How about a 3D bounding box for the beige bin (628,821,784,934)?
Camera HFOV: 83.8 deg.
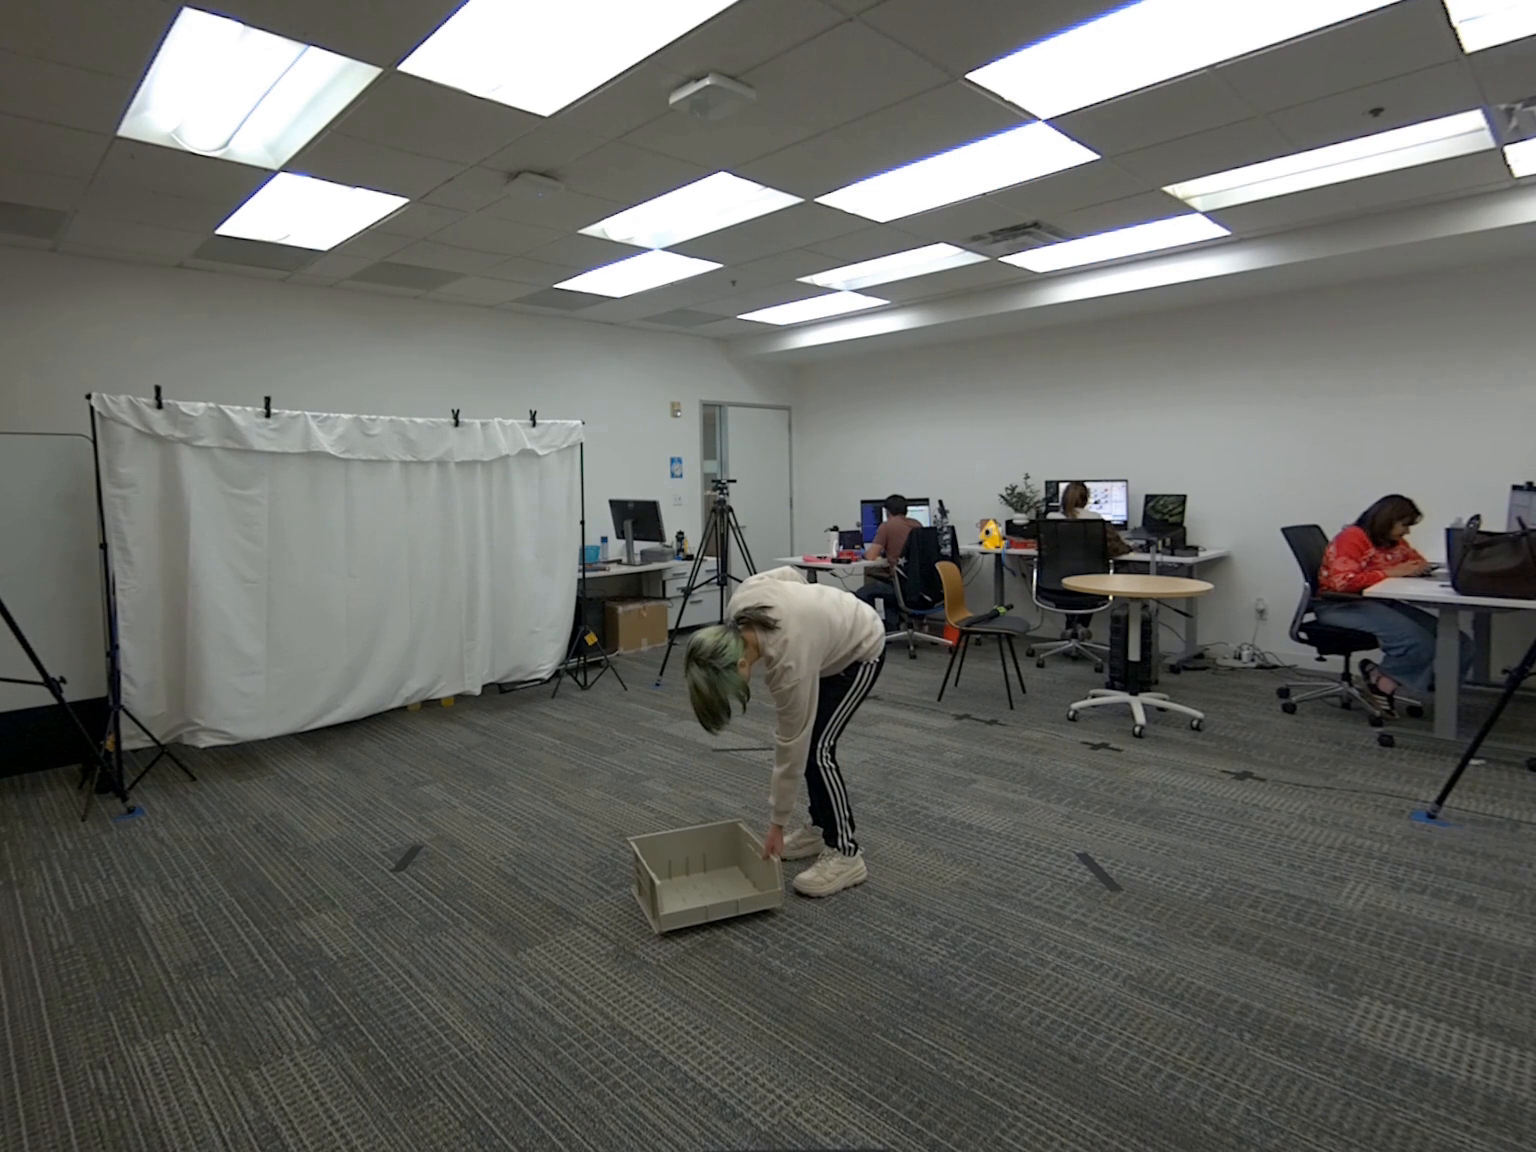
[{"bbox_3d":[-0.207,0.993,2.822,0.414,0.188,0.386,-5,6,-22],"label":"beige bin"}]
